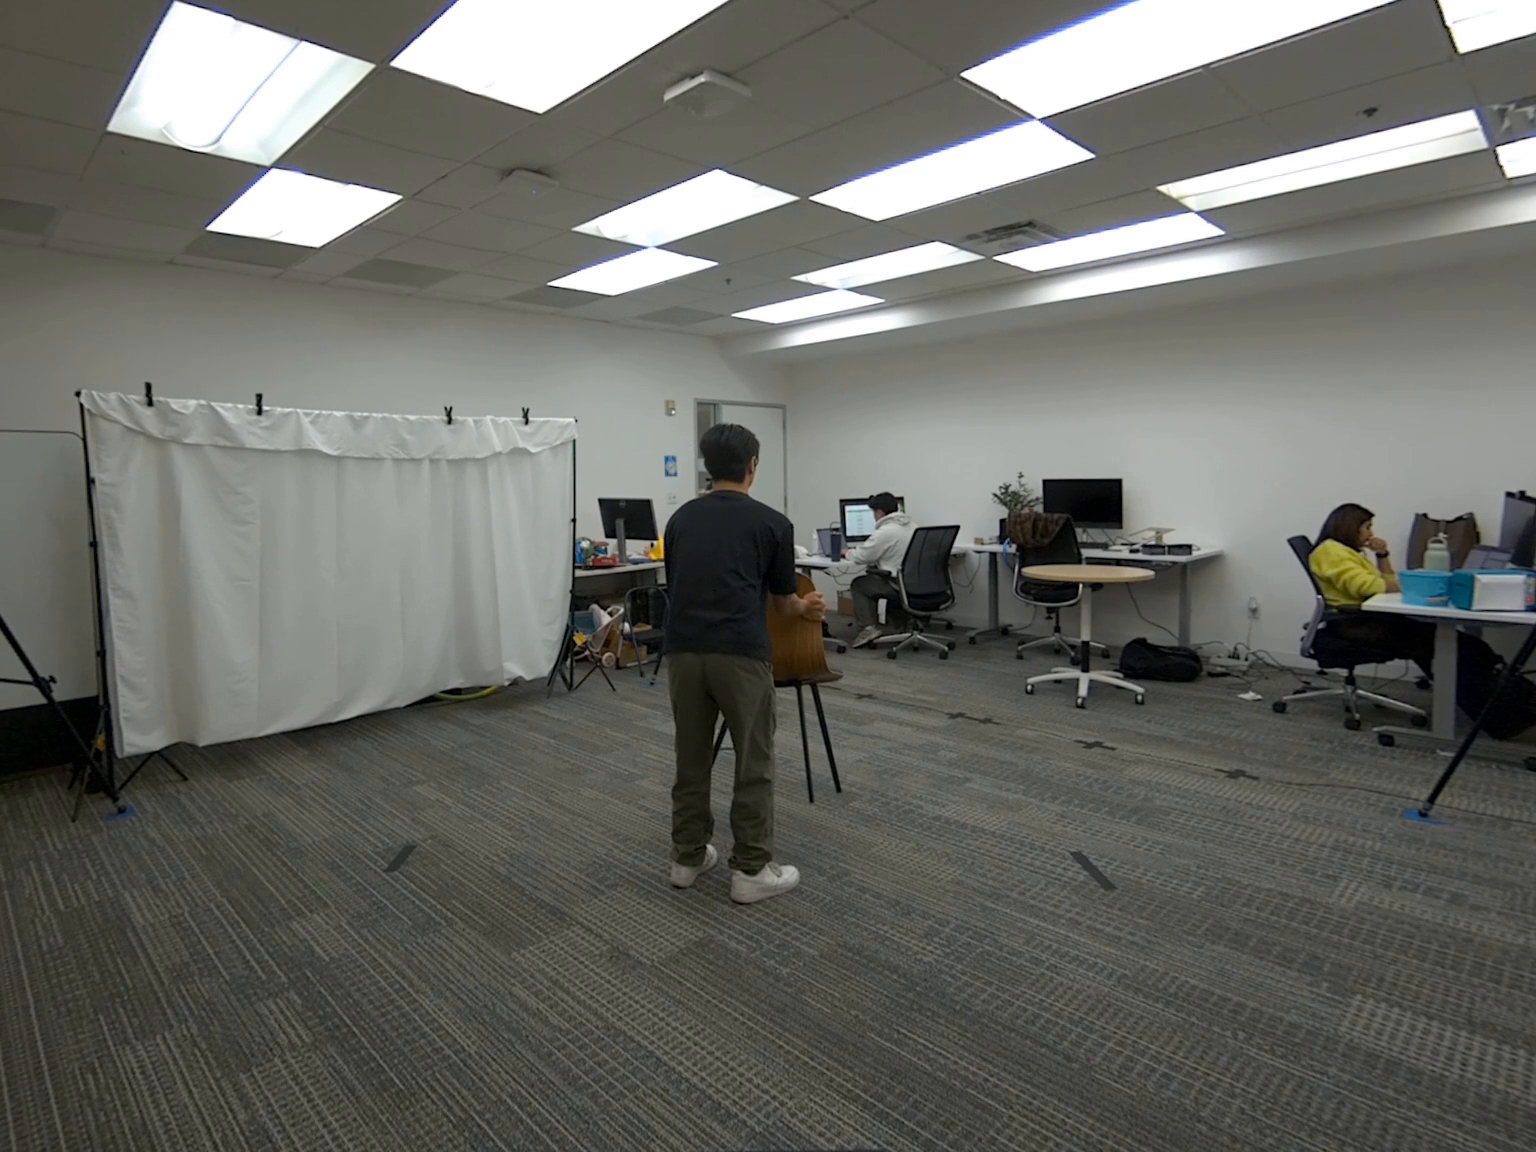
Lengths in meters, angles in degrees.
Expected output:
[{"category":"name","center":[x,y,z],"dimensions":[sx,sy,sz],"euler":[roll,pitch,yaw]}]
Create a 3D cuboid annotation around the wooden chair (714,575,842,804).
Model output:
[{"category":"wooden chair","center":[0.045,0.431,3.426],"dimensions":[0.487,0.882,0.510],"euler":[-1,-6,20]}]
